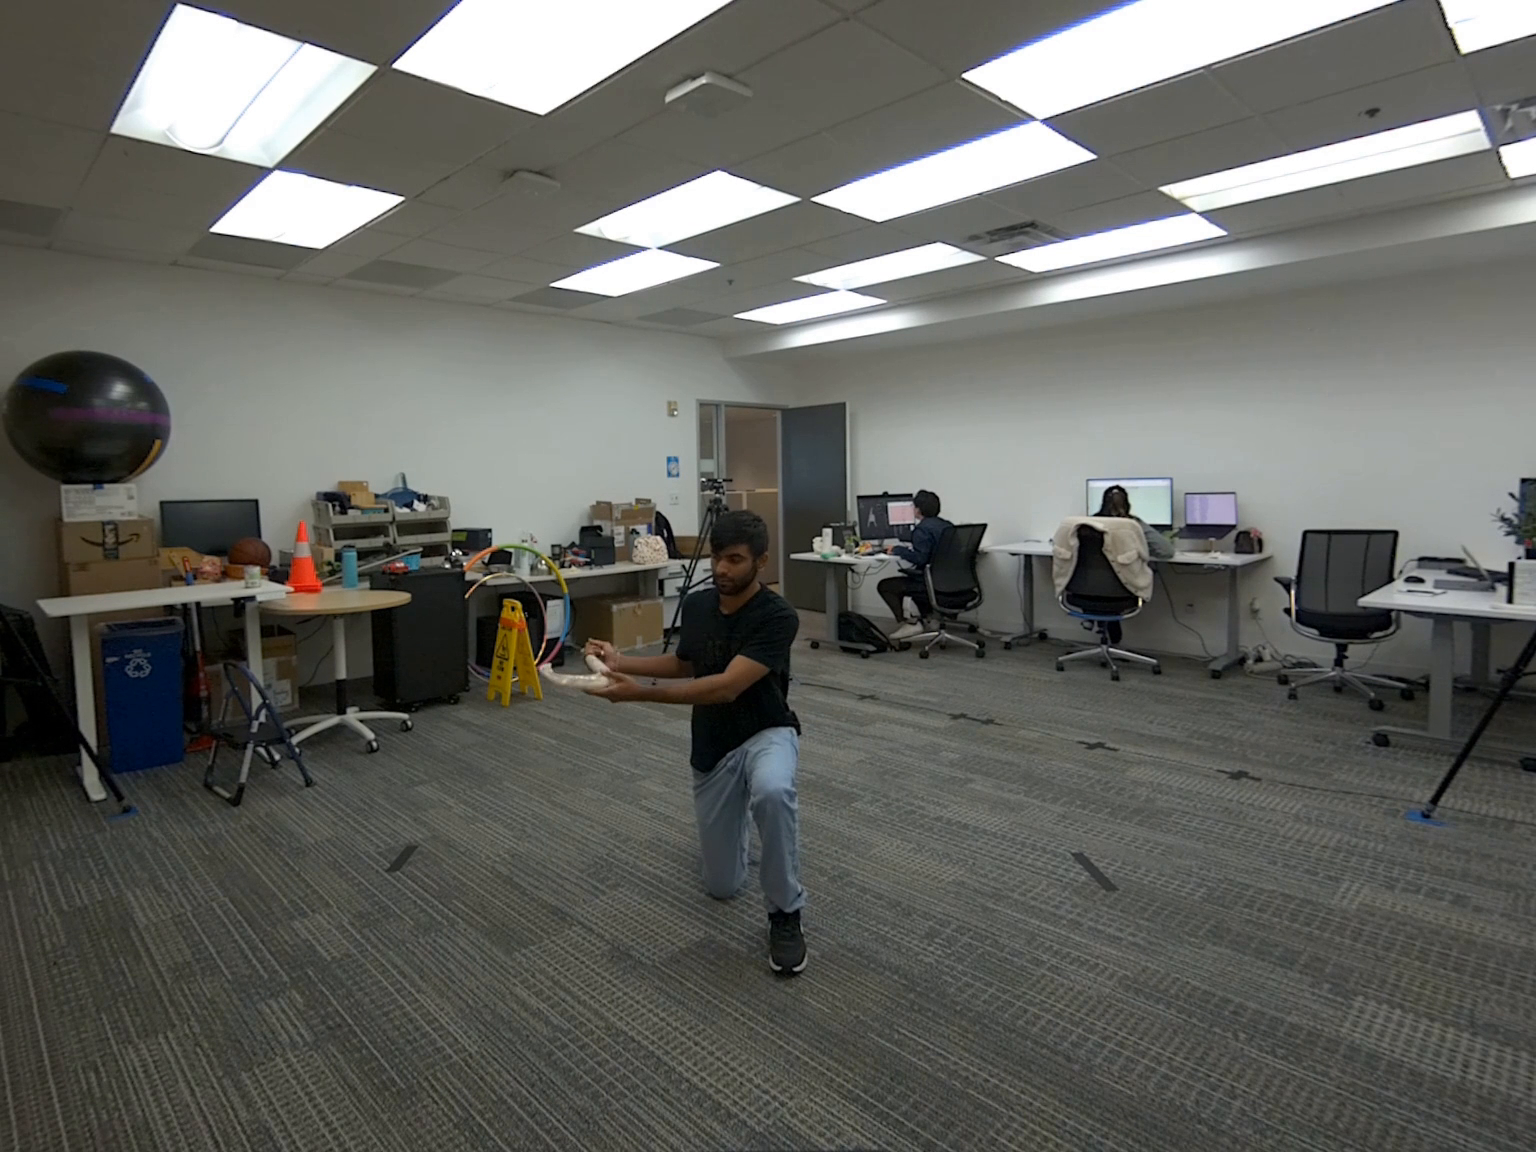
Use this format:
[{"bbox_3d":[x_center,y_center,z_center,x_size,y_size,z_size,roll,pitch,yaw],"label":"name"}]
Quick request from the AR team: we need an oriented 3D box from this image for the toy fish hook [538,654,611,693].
[{"bbox_3d":[-0.602,0.275,2.745,0.221,0.048,0.516,11,7,-14],"label":"toy fish hook"}]
